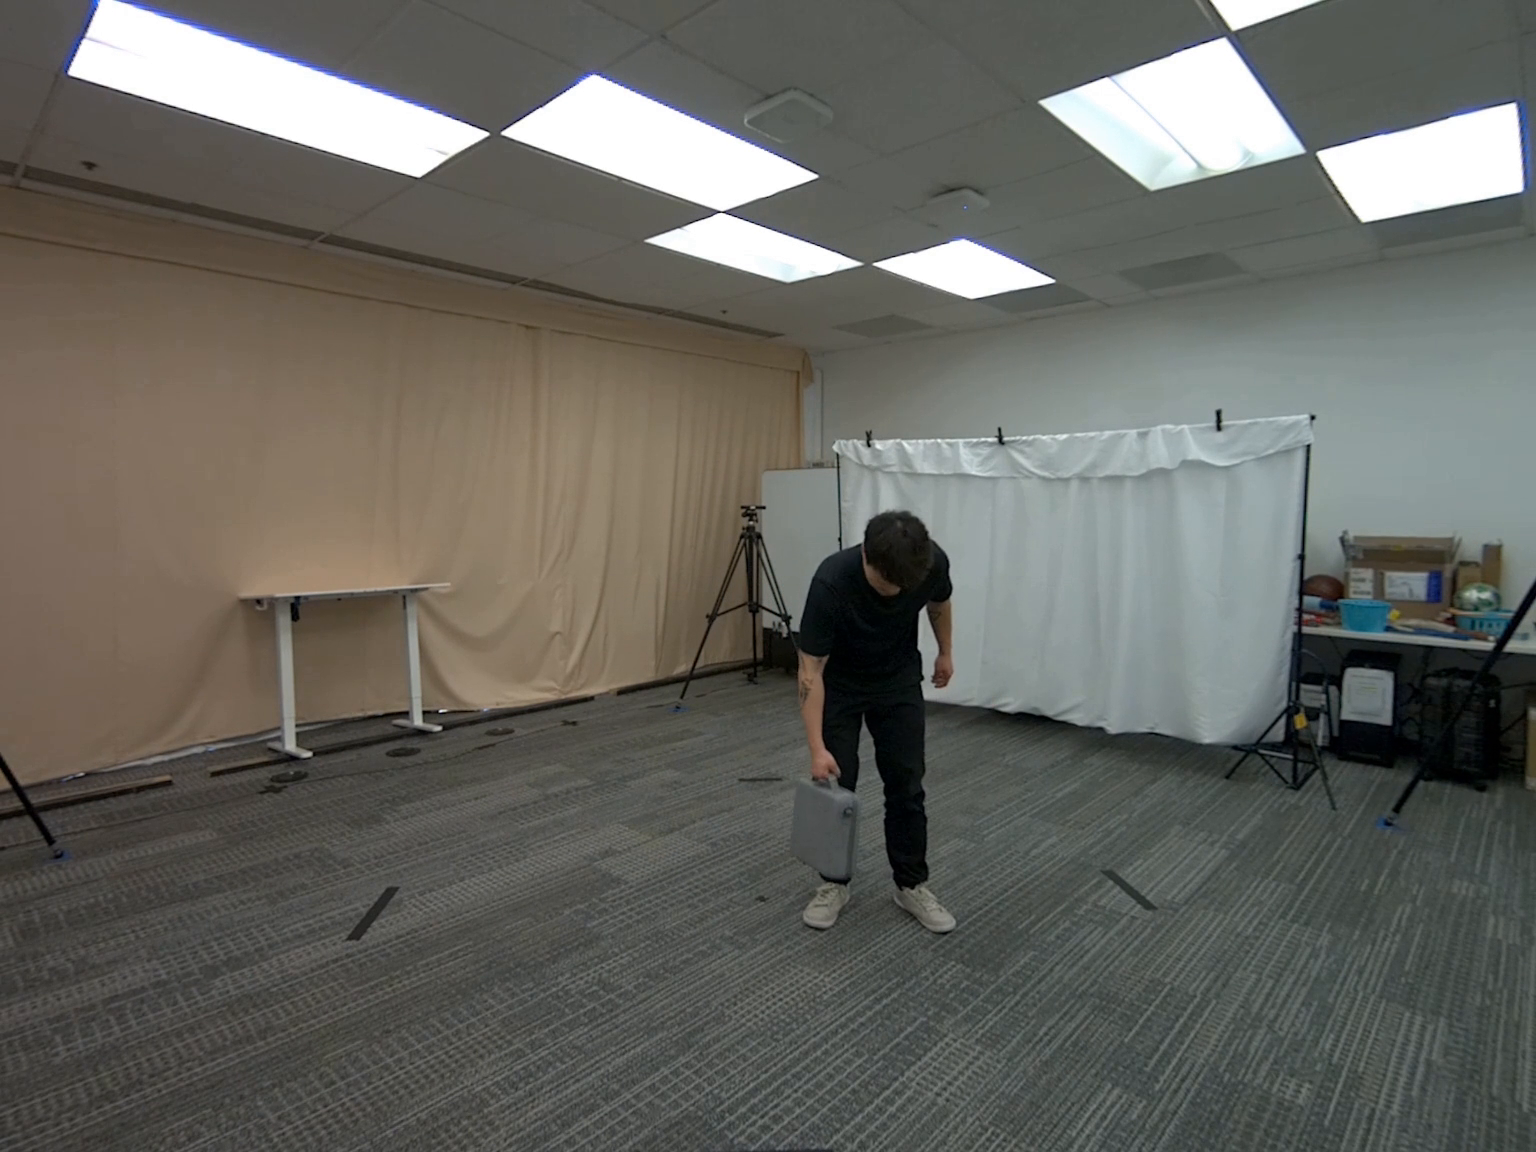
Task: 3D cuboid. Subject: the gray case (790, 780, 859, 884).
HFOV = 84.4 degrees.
[{"bbox_3d":[0.178,0.774,2.608,0.102,0.261,0.263,5,-2,-25],"label":"gray case"}]
